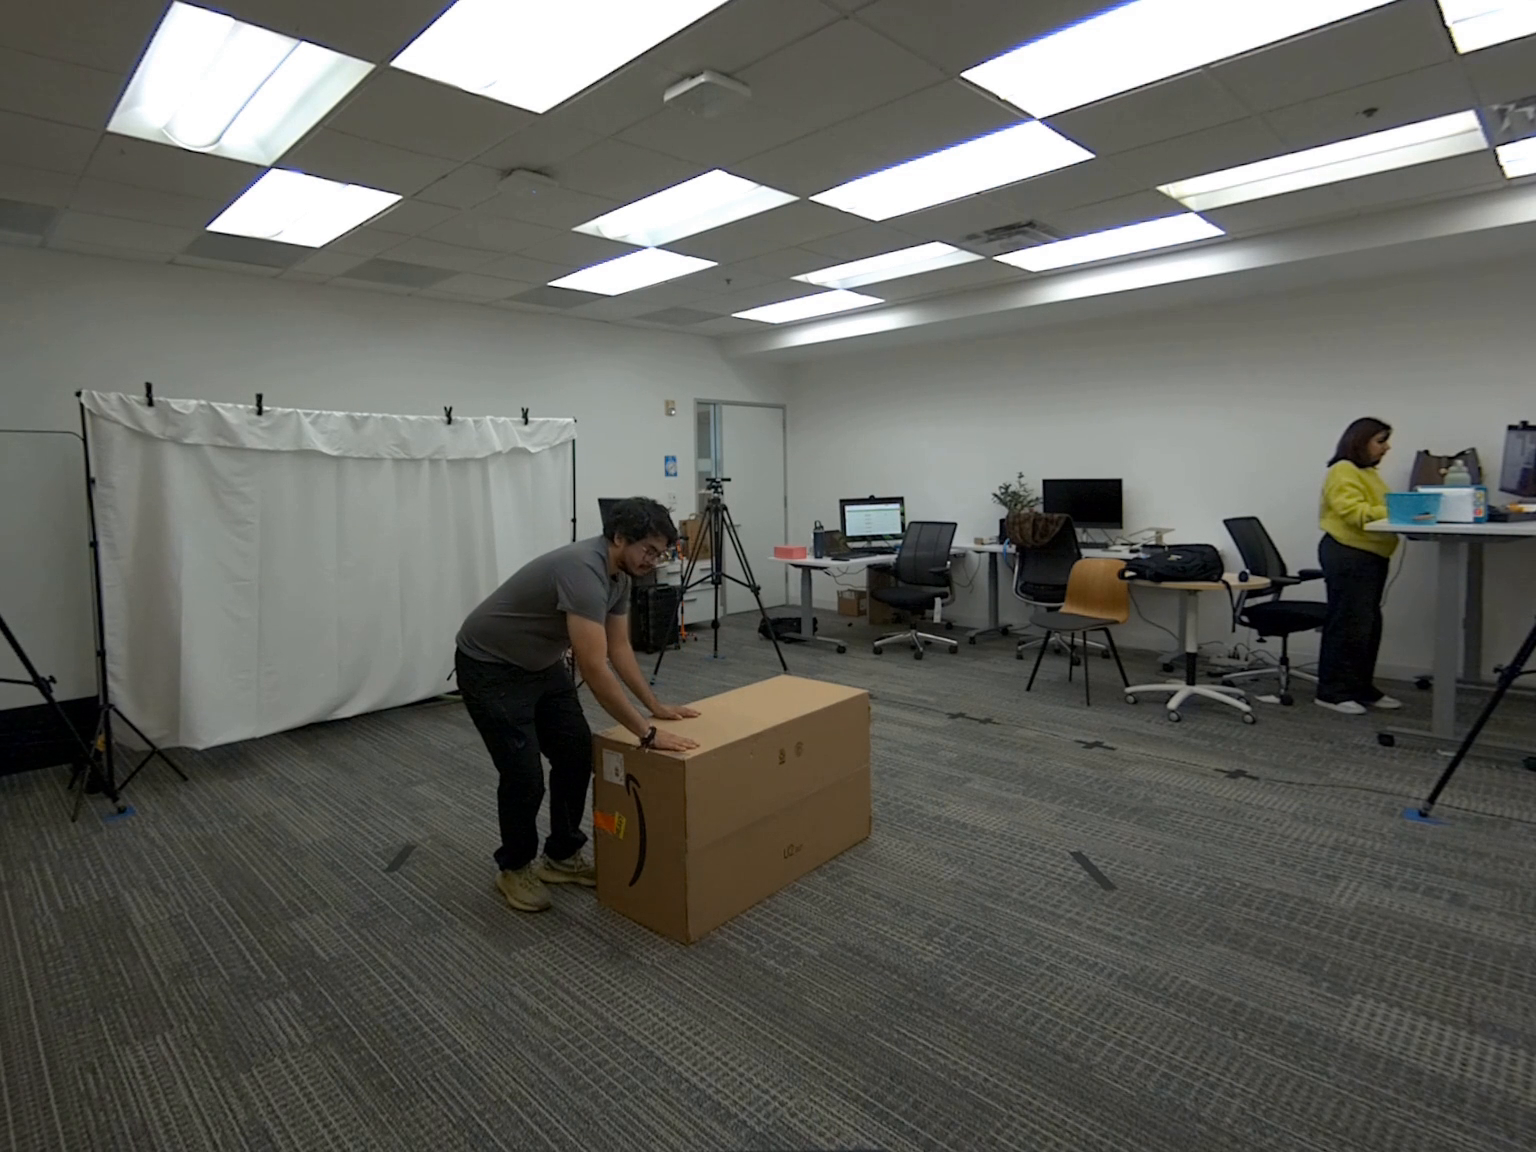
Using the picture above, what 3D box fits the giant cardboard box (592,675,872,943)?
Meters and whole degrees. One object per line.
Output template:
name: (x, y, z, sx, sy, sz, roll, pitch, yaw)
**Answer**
giant cardboard box: (-0.090, 0.761, 3.064, 0.439, 0.575, 1.000, 2, 7, 40)
